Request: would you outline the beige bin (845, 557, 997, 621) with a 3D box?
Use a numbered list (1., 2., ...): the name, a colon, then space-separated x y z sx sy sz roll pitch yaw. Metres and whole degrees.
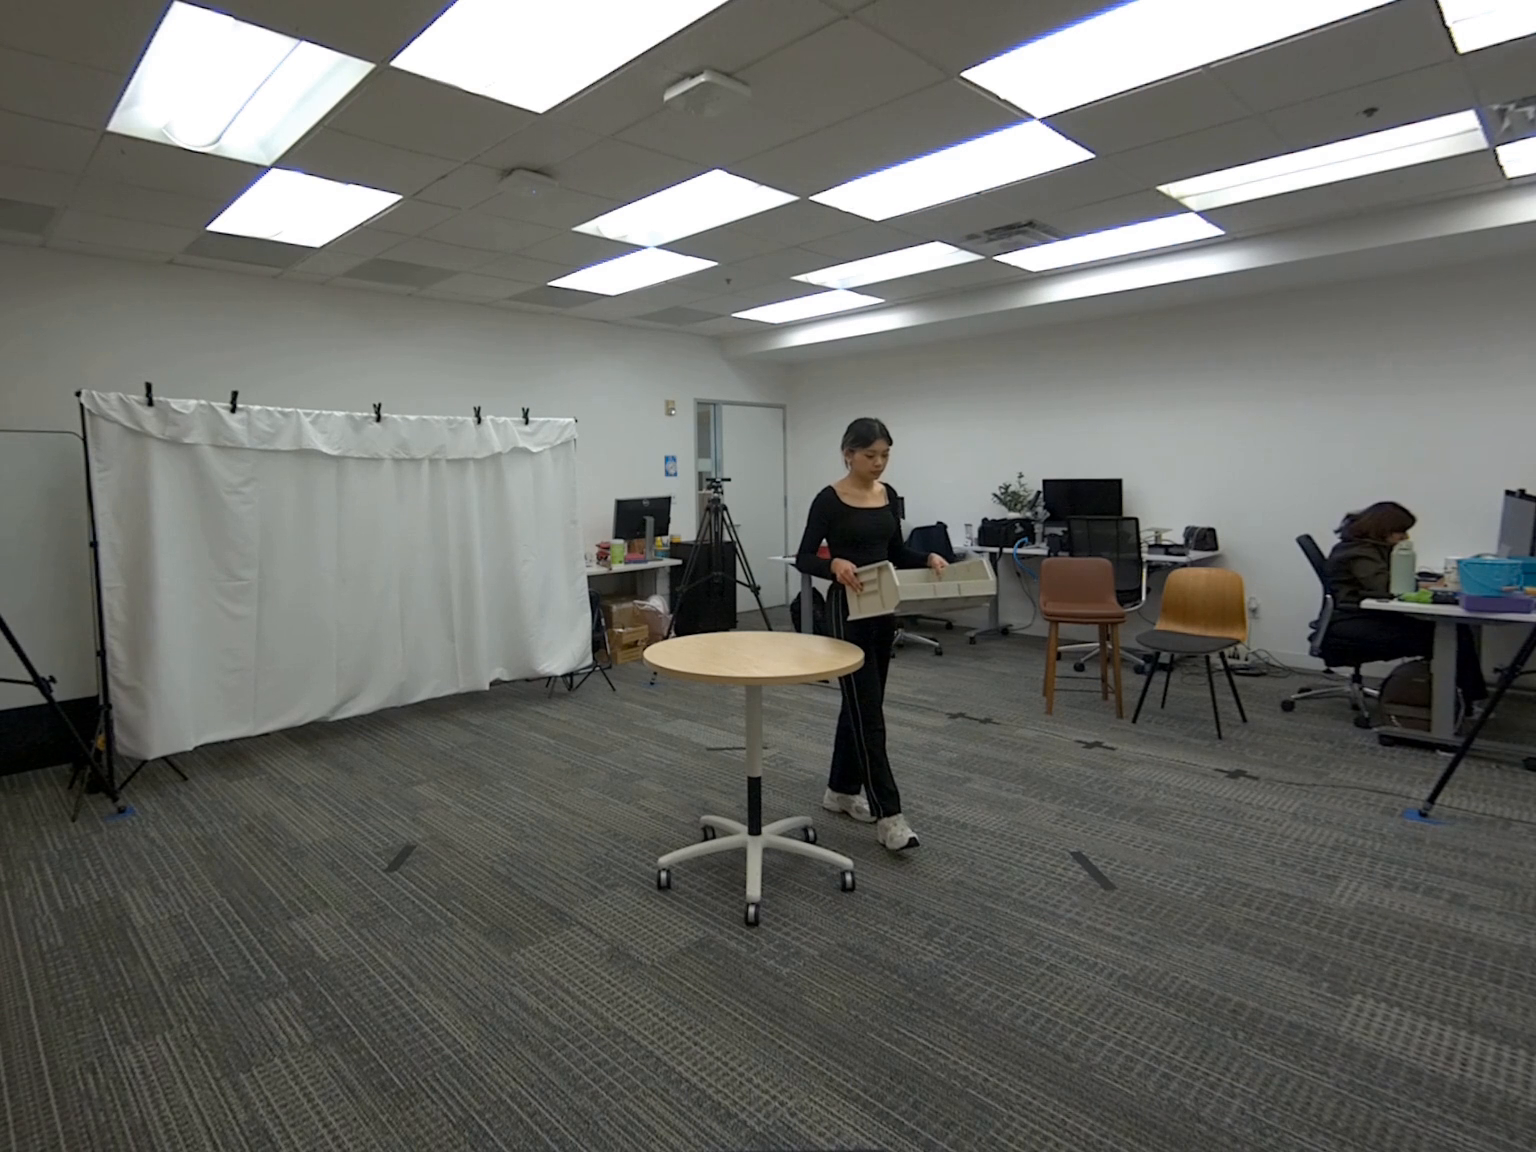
1. beige bin: 0.540 0.047 3.124 0.414 0.191 0.381 -3 -8 -24
